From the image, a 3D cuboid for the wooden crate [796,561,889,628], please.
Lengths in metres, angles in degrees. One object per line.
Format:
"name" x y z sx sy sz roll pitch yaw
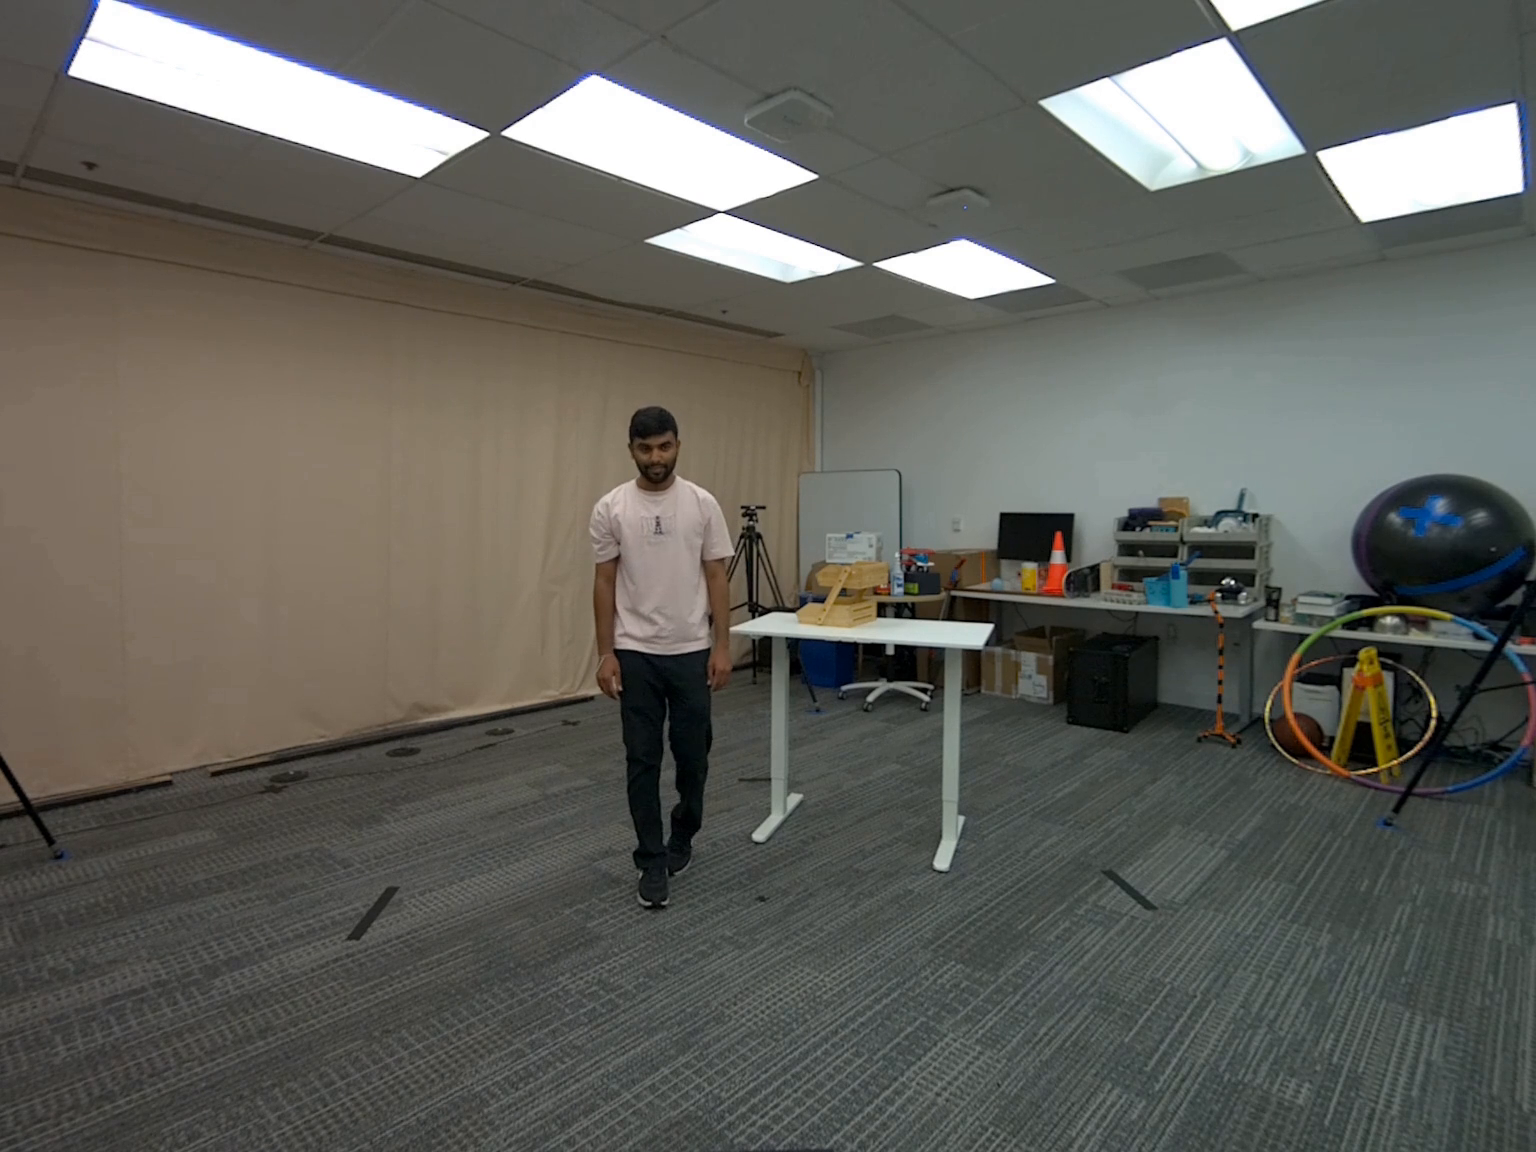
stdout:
"wooden crate" 0.322 0.071 3.681 0.311 0.272 0.316 3 5 31
